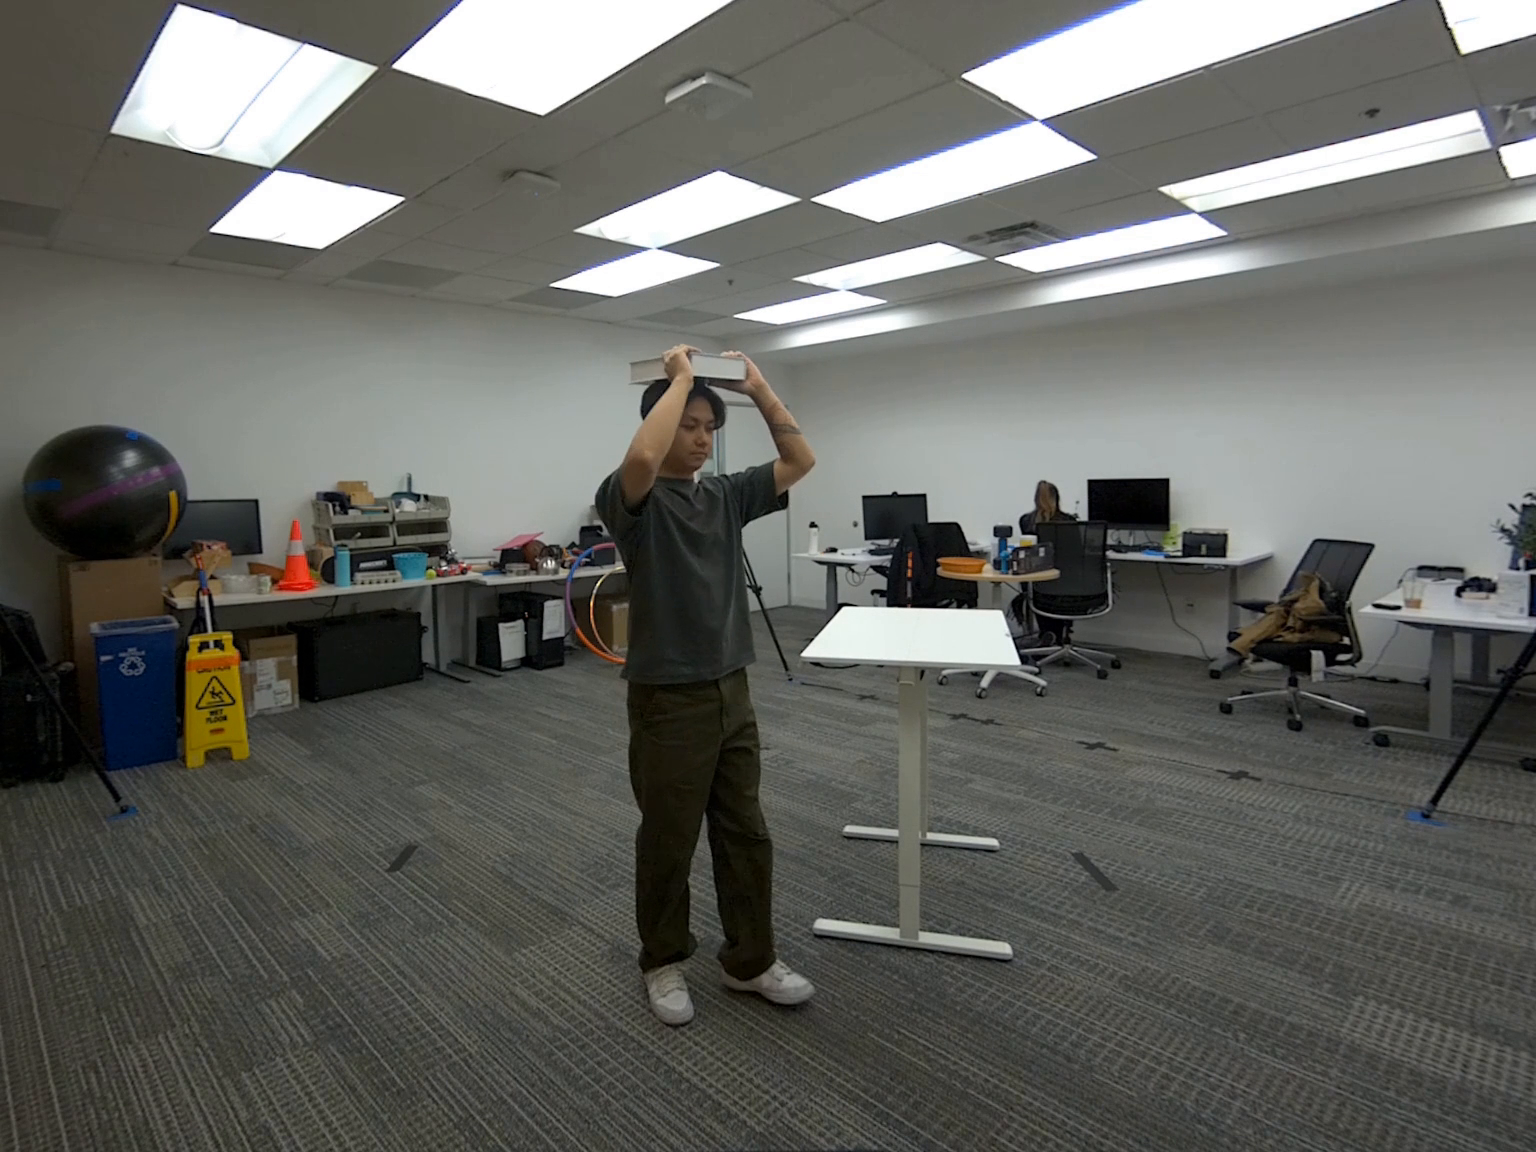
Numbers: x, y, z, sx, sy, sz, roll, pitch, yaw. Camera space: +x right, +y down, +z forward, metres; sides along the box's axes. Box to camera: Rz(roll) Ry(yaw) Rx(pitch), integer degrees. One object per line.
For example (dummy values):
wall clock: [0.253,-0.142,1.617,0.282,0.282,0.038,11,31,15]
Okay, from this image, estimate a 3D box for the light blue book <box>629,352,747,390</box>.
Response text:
light blue book: [-0.211,-0.538,2.237,0.186,0.059,0.269,-8,10,-44]
